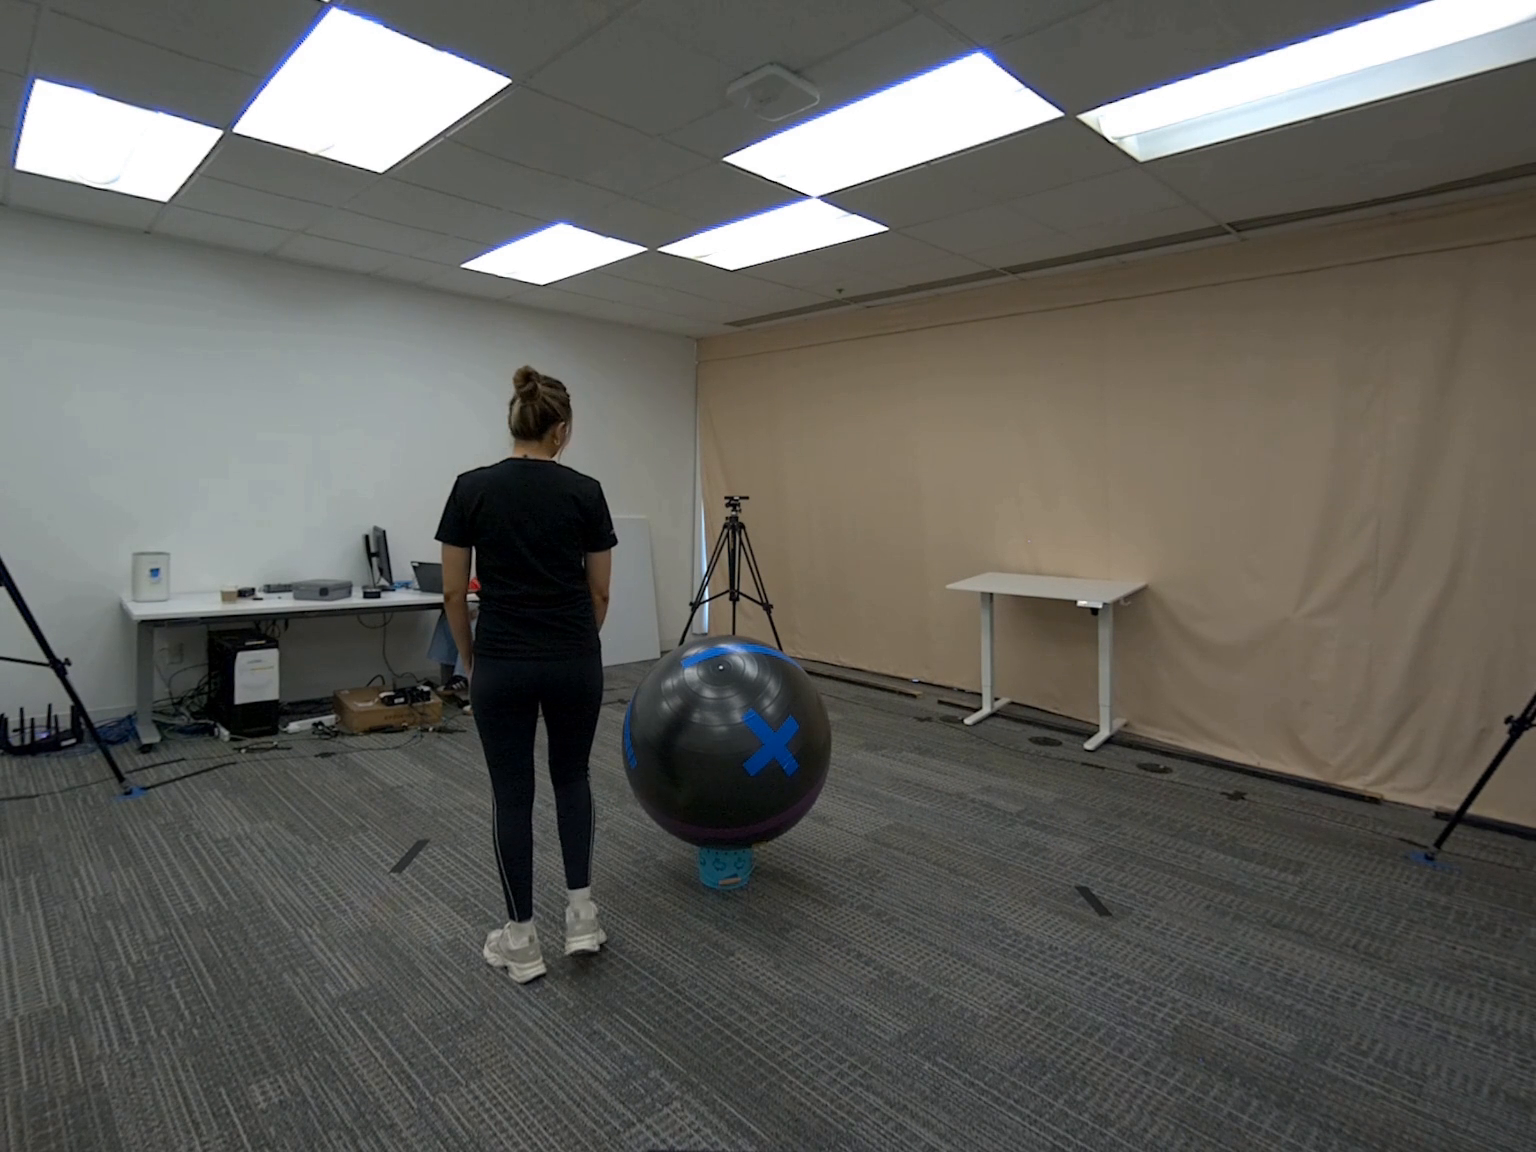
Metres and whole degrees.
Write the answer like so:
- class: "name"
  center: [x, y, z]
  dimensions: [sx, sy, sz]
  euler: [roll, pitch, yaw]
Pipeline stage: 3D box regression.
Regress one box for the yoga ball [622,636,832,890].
- class: "yoga ball"
  center: [-0.153, 0.599, 3.047]
  dimensions: [0.757, 0.756, 0.761]
  euler: [1, 4, -1]
